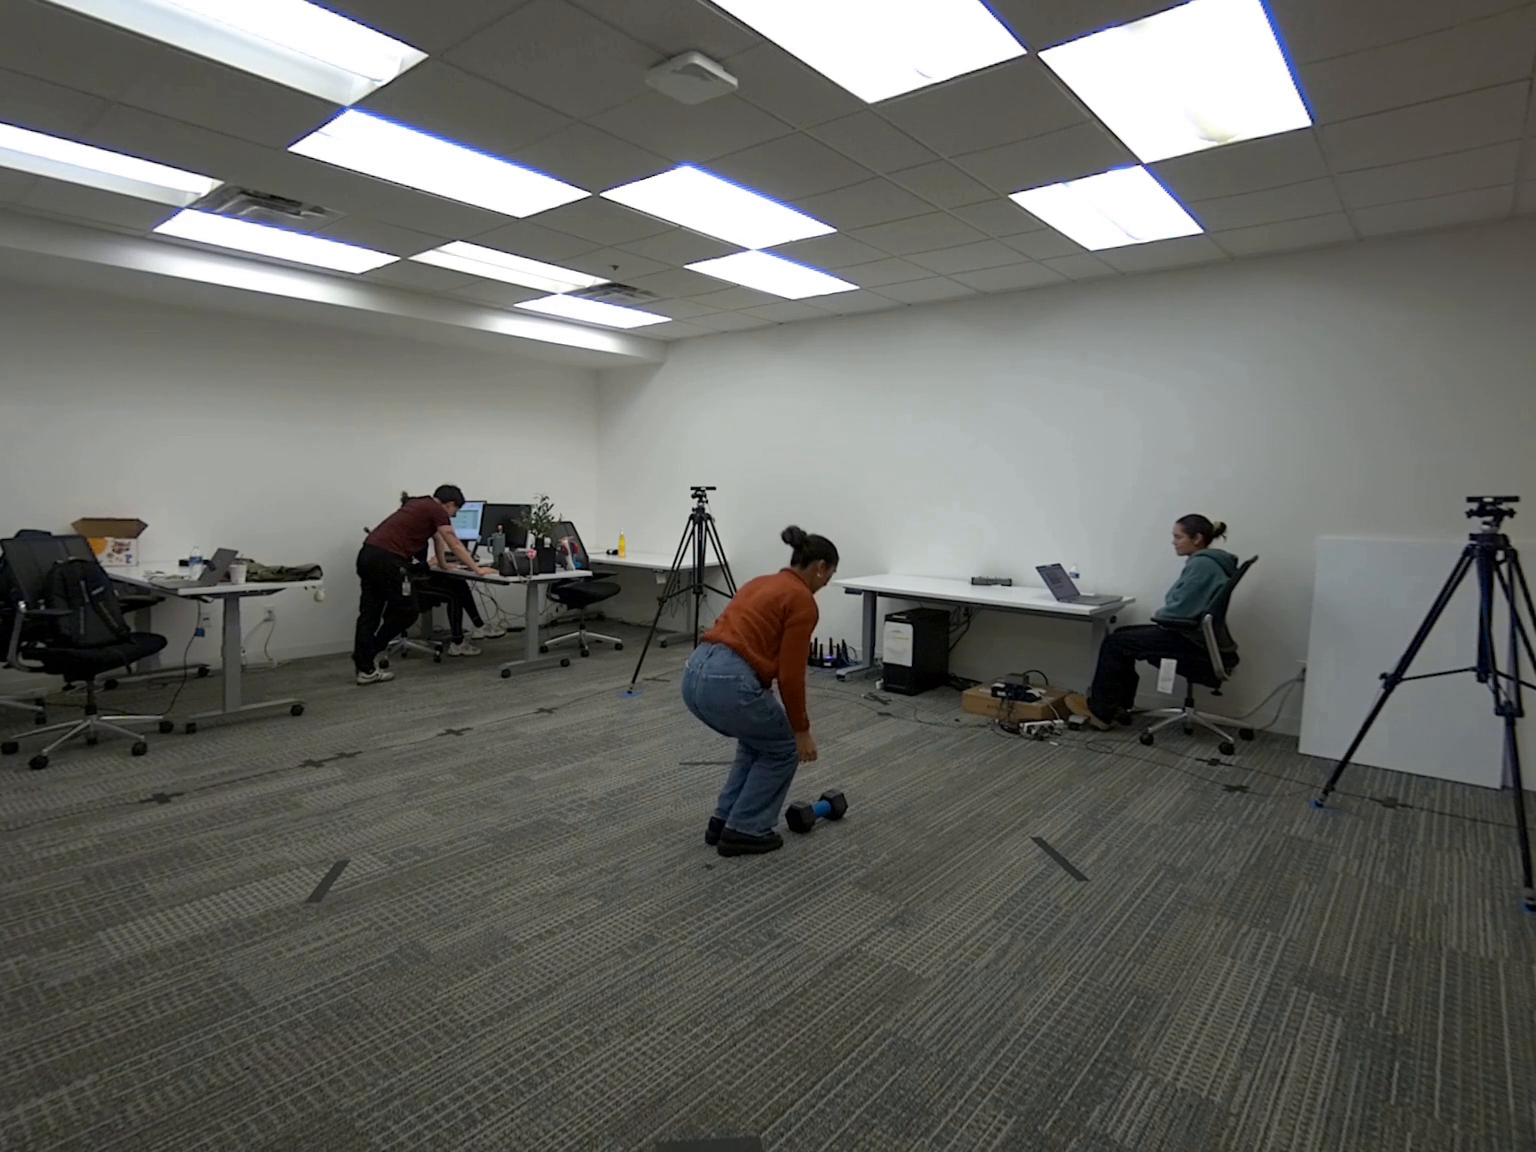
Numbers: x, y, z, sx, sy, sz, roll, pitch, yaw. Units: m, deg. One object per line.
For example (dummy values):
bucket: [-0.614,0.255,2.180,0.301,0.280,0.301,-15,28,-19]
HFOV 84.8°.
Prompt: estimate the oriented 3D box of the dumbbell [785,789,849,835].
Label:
dumbbell: [0.200,0.976,3.546,0.285,0.126,0.109,-5,-24,-46]
